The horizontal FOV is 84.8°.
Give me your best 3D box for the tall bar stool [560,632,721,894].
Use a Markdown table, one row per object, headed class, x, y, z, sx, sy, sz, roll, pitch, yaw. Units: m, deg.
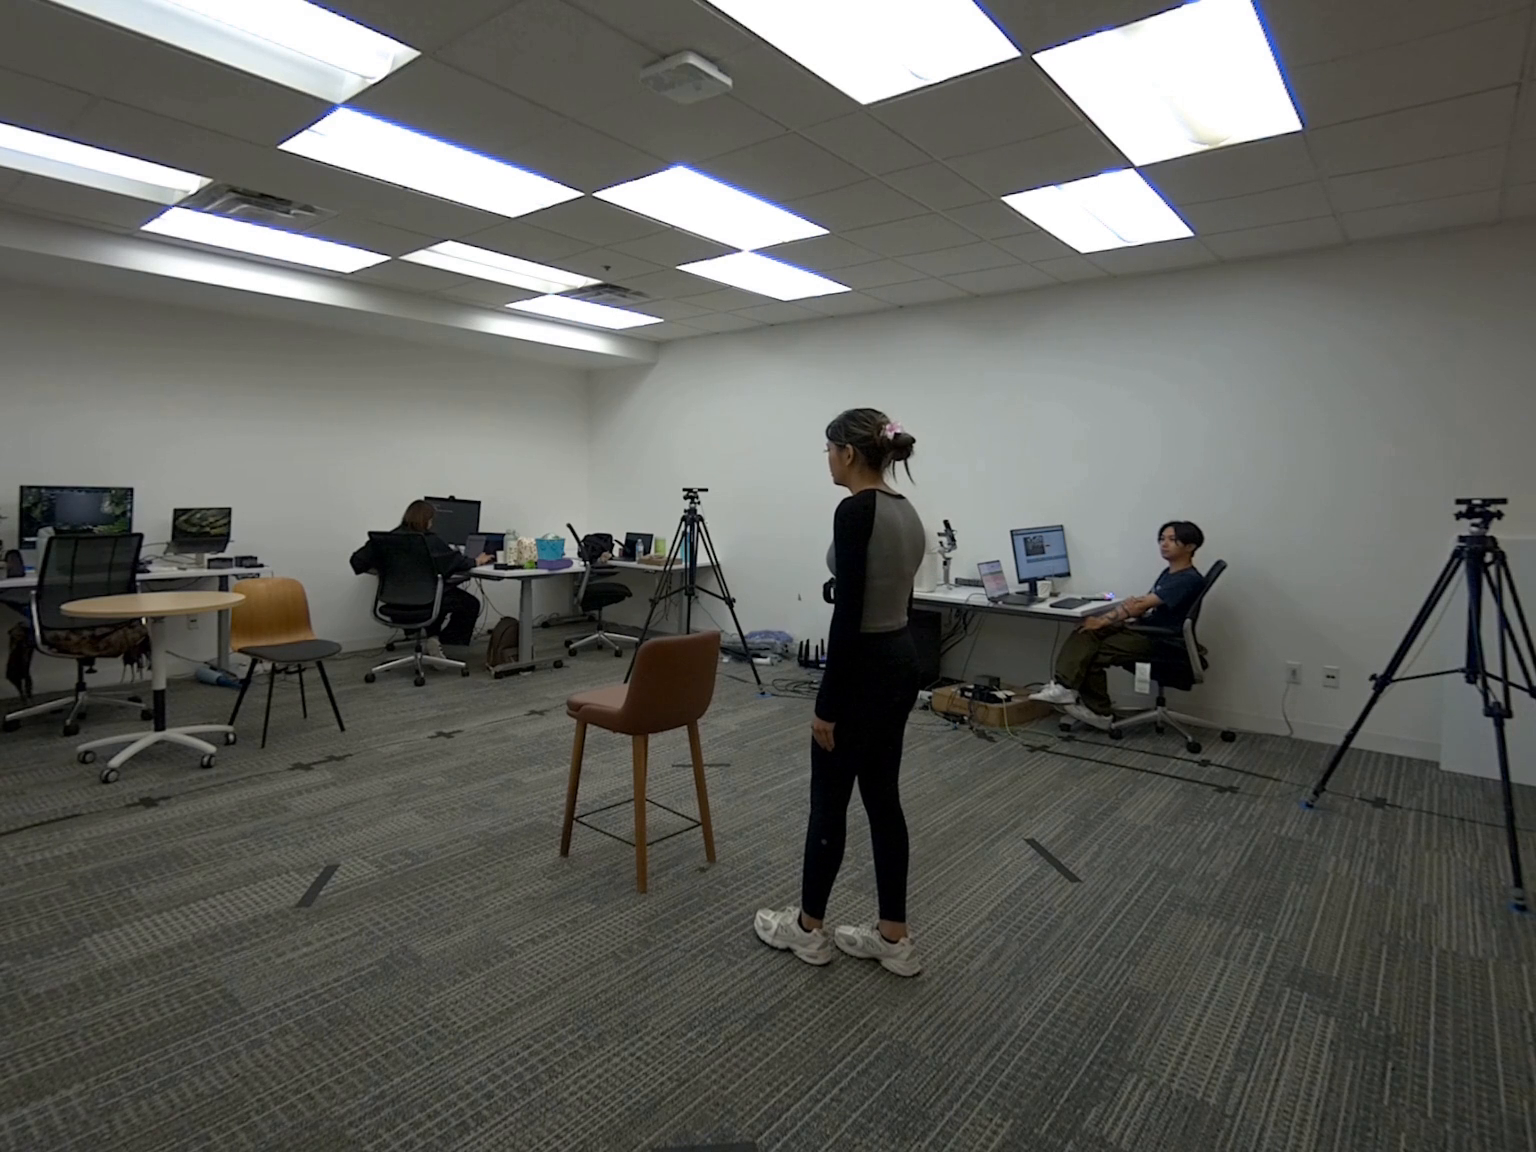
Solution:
| class | x | y | z | sx | sy | sz | roll | pitch | yaw |
| --- | --- | --- | --- | --- | --- | --- | --- | --- | --- |
| tall bar stool | -0.481 | 0.625 | 3.171 | 0.484 | 0.887 | 0.442 | 6 | 5 | 41 |
